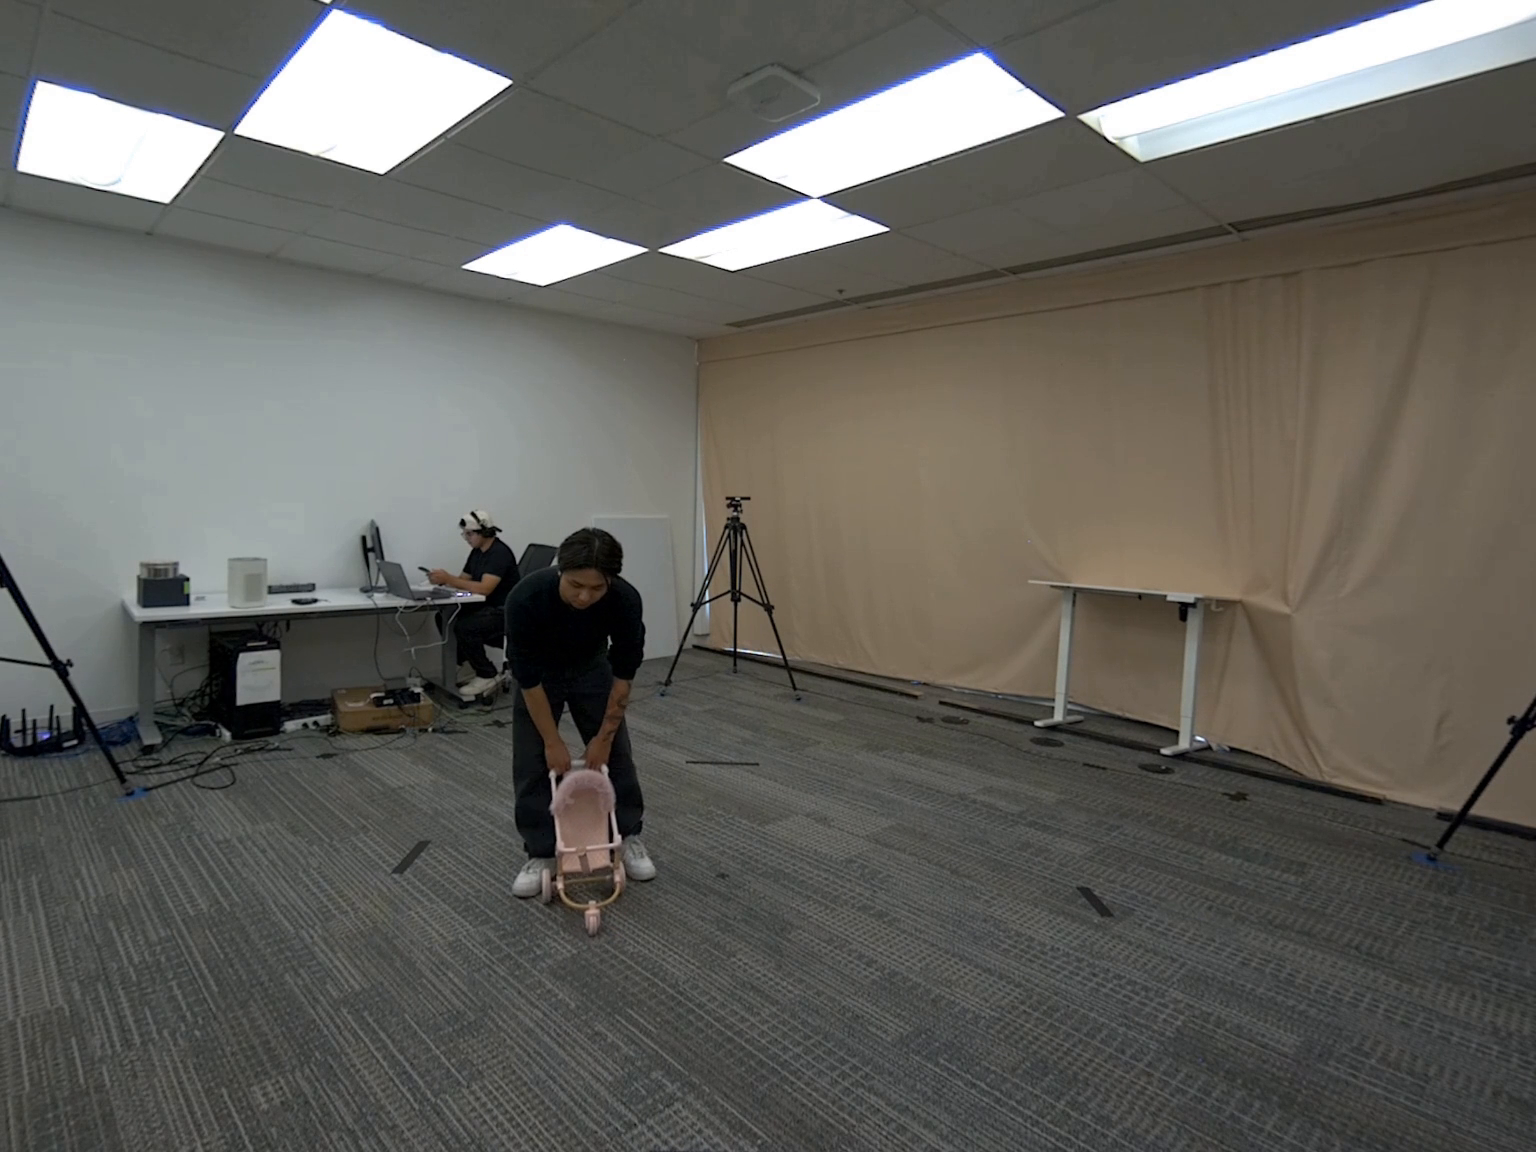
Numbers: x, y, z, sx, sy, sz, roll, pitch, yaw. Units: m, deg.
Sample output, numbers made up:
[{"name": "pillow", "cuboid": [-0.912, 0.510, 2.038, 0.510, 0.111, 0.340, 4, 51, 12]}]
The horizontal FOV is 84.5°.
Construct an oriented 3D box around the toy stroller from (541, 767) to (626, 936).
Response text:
[{"name": "toy stroller", "cuboid": [-0.623, 0.898, 2.825, 0.278, 0.540, 0.342, -1, -12, -15]}]
